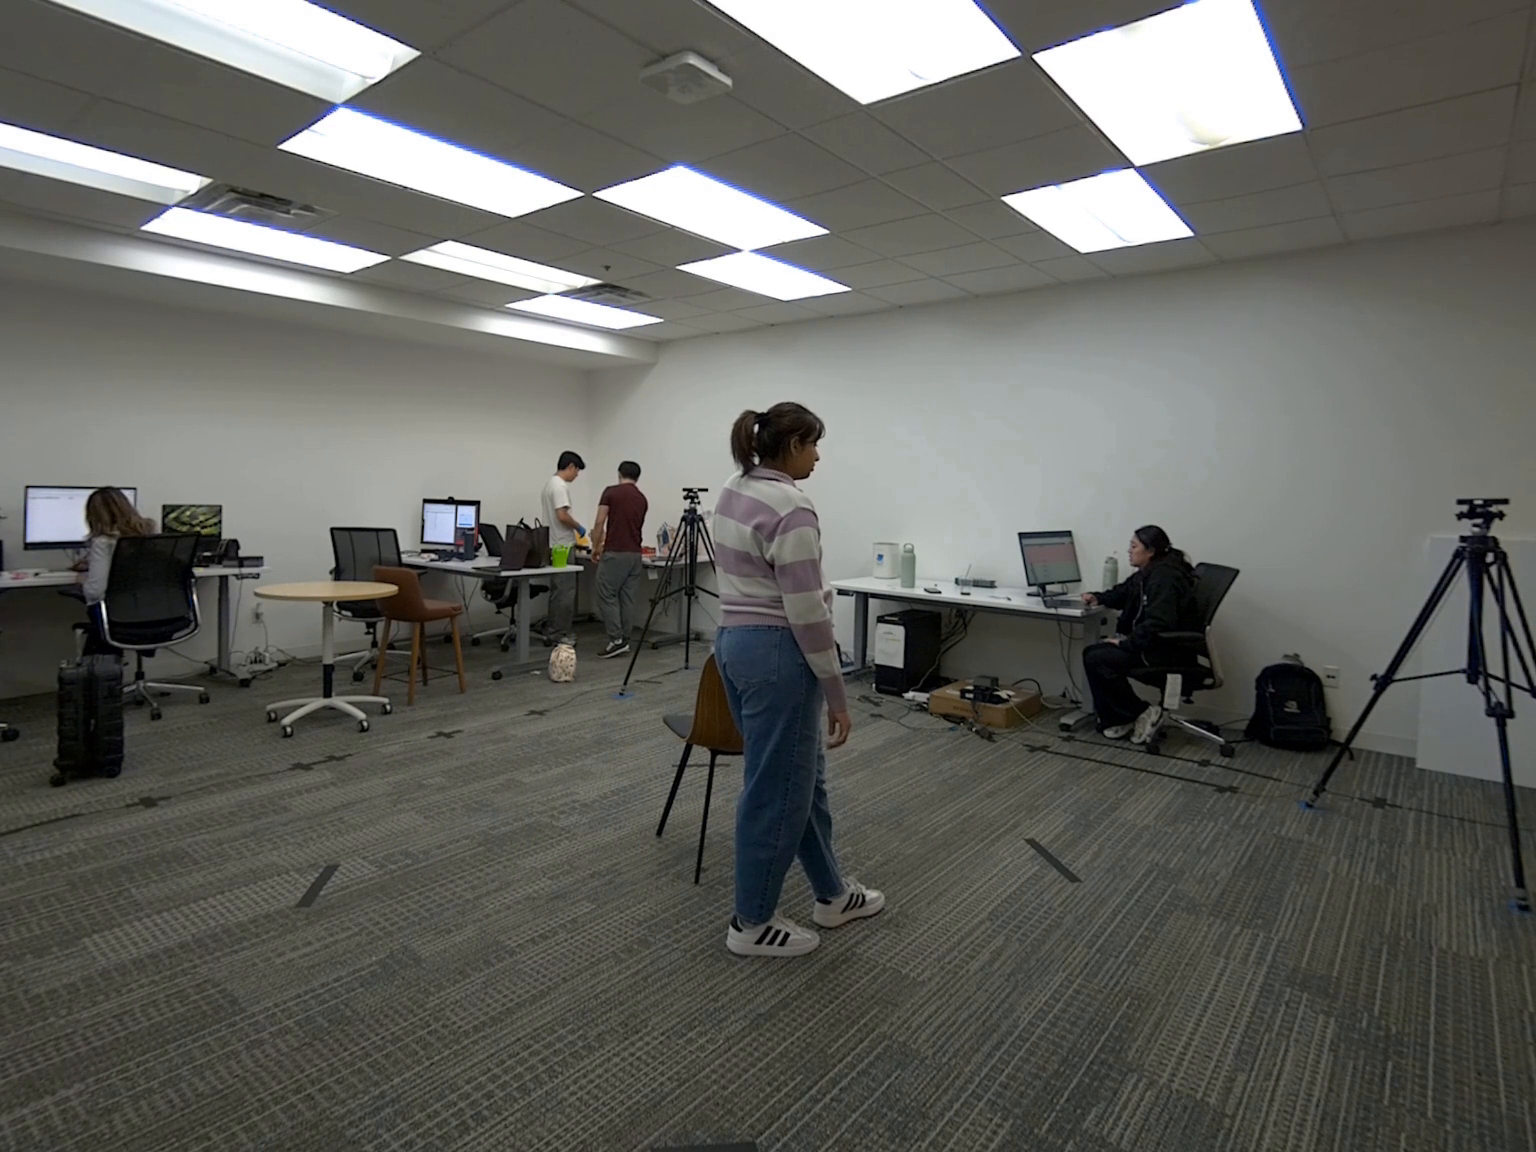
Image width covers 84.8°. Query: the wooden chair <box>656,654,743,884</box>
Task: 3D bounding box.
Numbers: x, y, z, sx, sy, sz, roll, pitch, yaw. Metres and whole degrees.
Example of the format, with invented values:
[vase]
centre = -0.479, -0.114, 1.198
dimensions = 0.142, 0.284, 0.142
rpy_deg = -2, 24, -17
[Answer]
[wooden chair]
centre = -0.154, 0.627, 3.256
dimensions = 0.467, 0.872, 0.539
rpy_deg = 0, 8, -24
